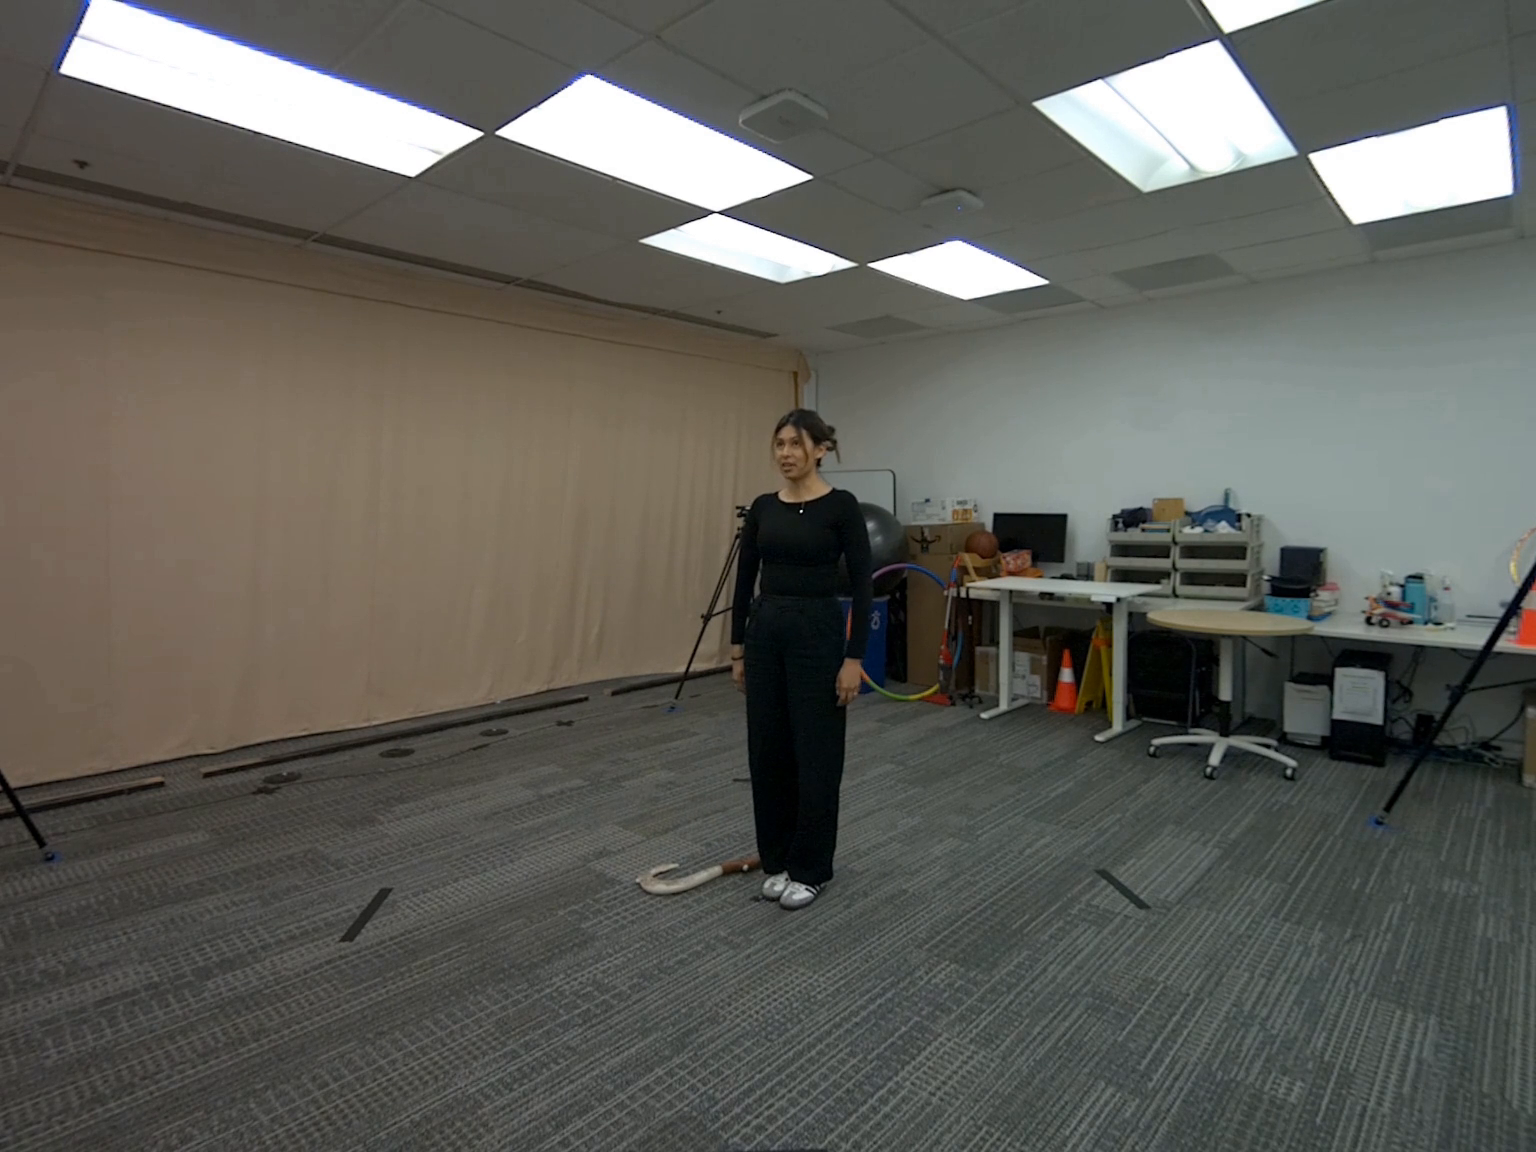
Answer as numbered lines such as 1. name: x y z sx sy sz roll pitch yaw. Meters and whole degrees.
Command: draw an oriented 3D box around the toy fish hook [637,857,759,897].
1. toy fish hook: -0.248 1.112 3.184 0.493 0.048 0.231 -3 6 -29
